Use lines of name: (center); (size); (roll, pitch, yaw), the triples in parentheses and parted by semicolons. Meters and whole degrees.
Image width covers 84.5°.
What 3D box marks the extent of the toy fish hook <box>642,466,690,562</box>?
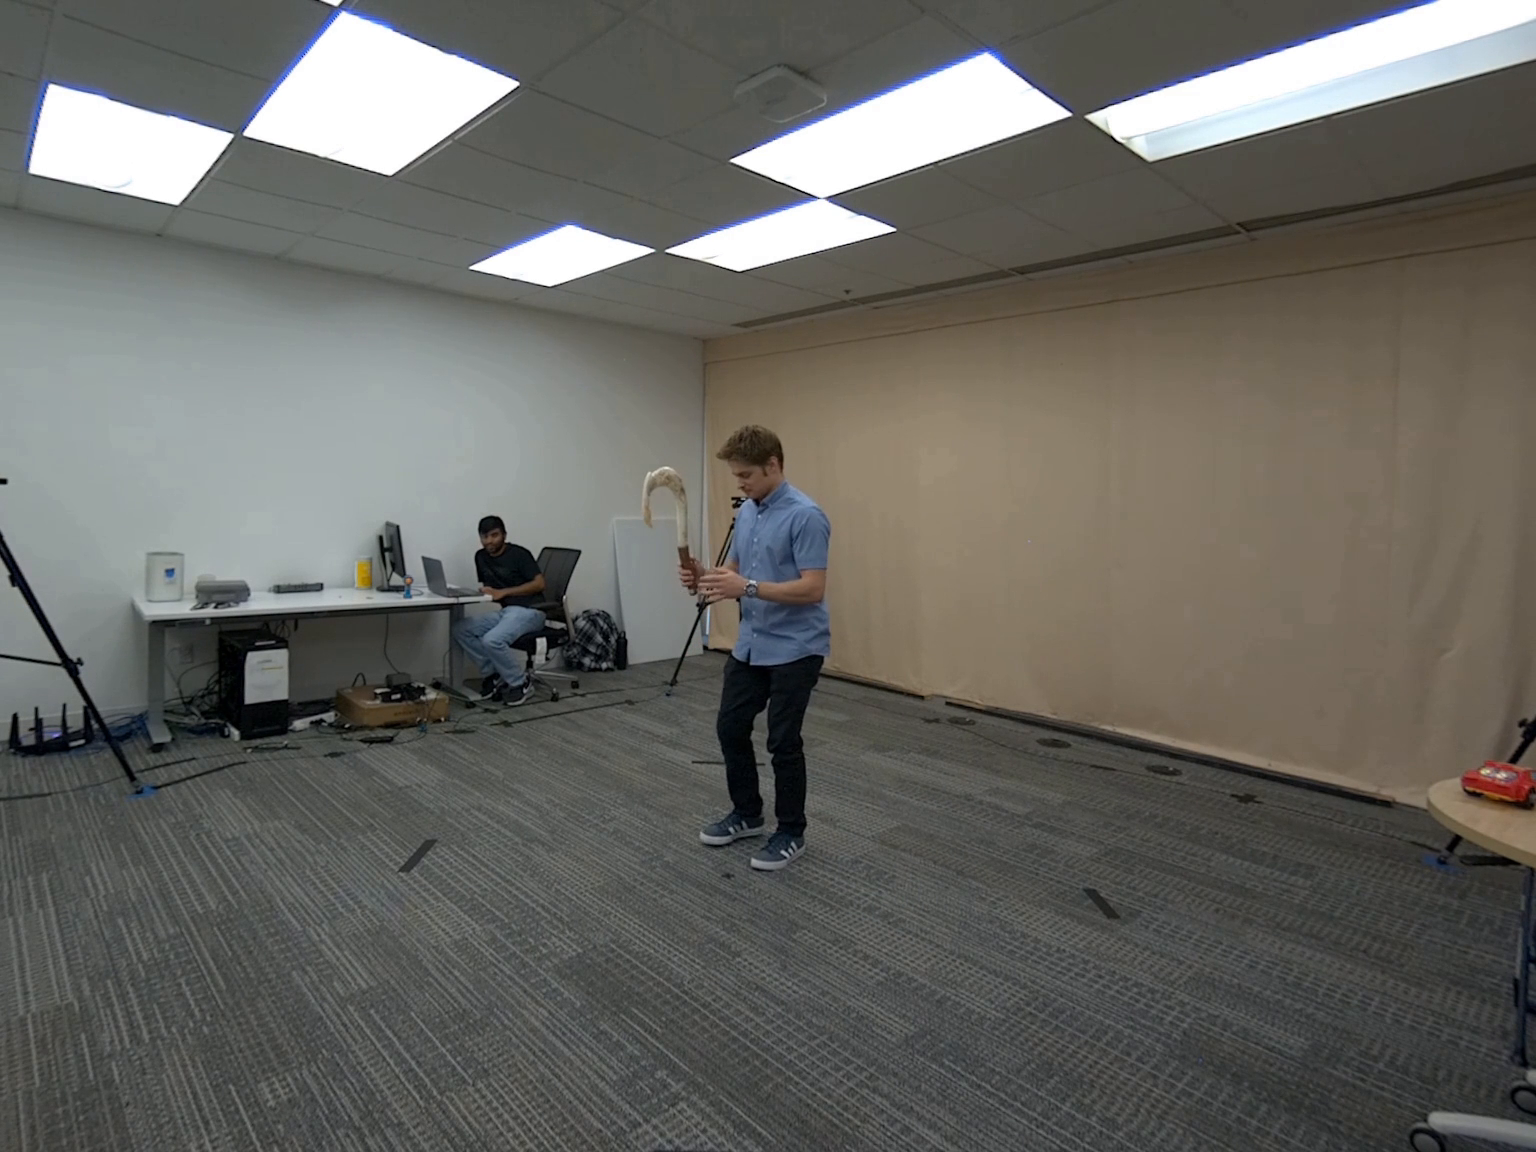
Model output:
toy fish hook: (-0.364, -0.152, 3.127); (0.049, 0.500, 0.222); (2, 20, 44)
